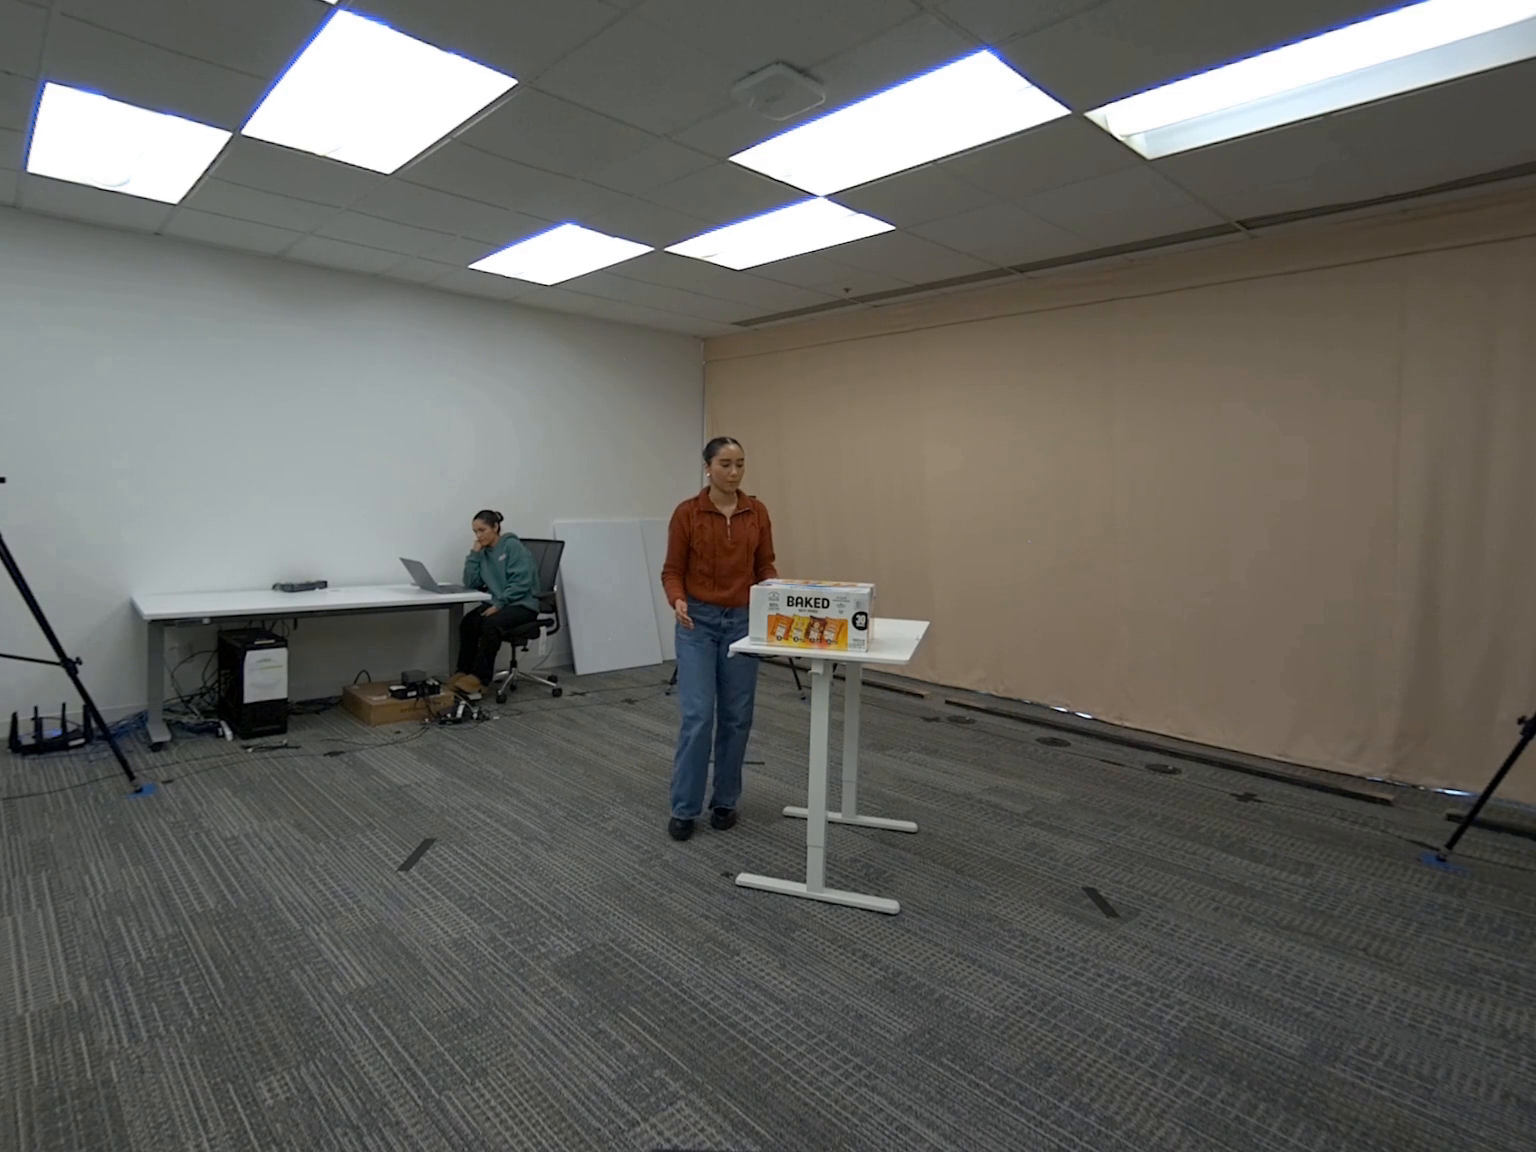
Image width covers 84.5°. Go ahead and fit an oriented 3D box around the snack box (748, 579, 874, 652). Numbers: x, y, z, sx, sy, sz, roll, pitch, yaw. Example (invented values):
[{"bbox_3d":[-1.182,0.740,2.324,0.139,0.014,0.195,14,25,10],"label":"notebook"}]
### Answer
[{"bbox_3d":[0.164,0.134,3.012,0.409,0.205,0.338,3,4,12],"label":"snack box"}]
